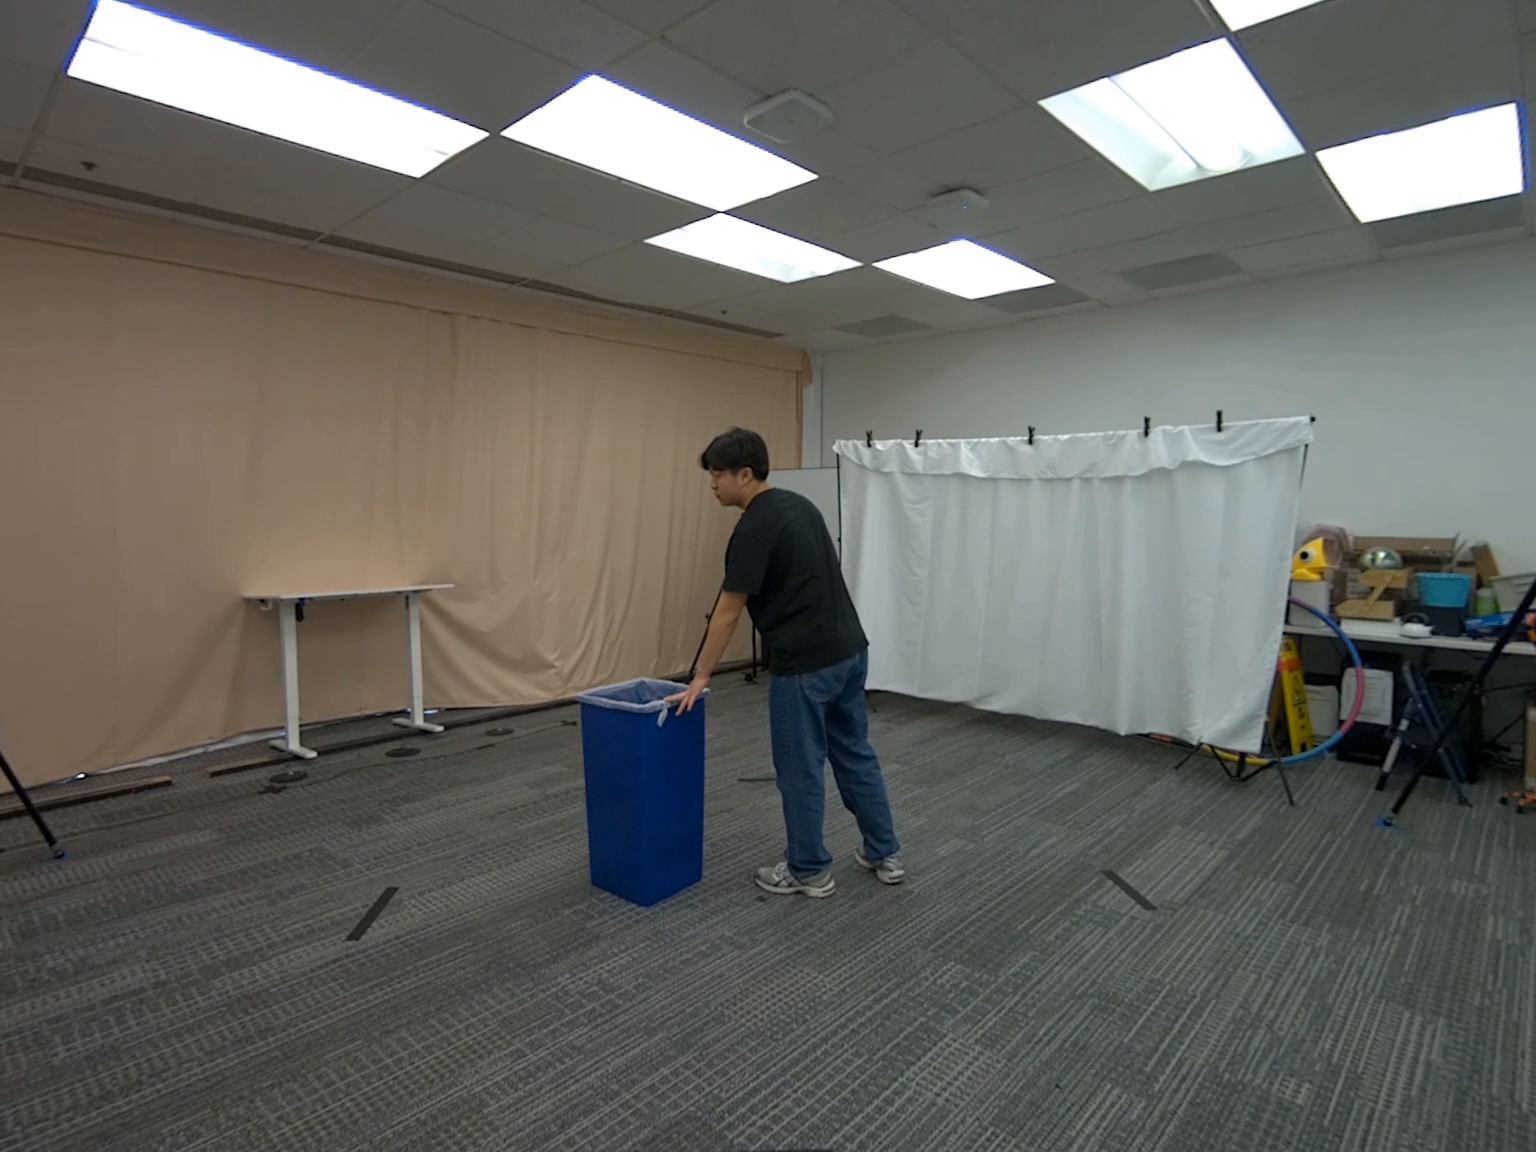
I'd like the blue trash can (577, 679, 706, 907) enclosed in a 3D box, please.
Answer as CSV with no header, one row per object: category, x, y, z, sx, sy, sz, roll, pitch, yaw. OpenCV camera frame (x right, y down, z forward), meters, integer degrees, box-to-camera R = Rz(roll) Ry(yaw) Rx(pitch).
blue trash can,-0.462,0.782,3.119,0.386,0.712,0.366,2,3,38
